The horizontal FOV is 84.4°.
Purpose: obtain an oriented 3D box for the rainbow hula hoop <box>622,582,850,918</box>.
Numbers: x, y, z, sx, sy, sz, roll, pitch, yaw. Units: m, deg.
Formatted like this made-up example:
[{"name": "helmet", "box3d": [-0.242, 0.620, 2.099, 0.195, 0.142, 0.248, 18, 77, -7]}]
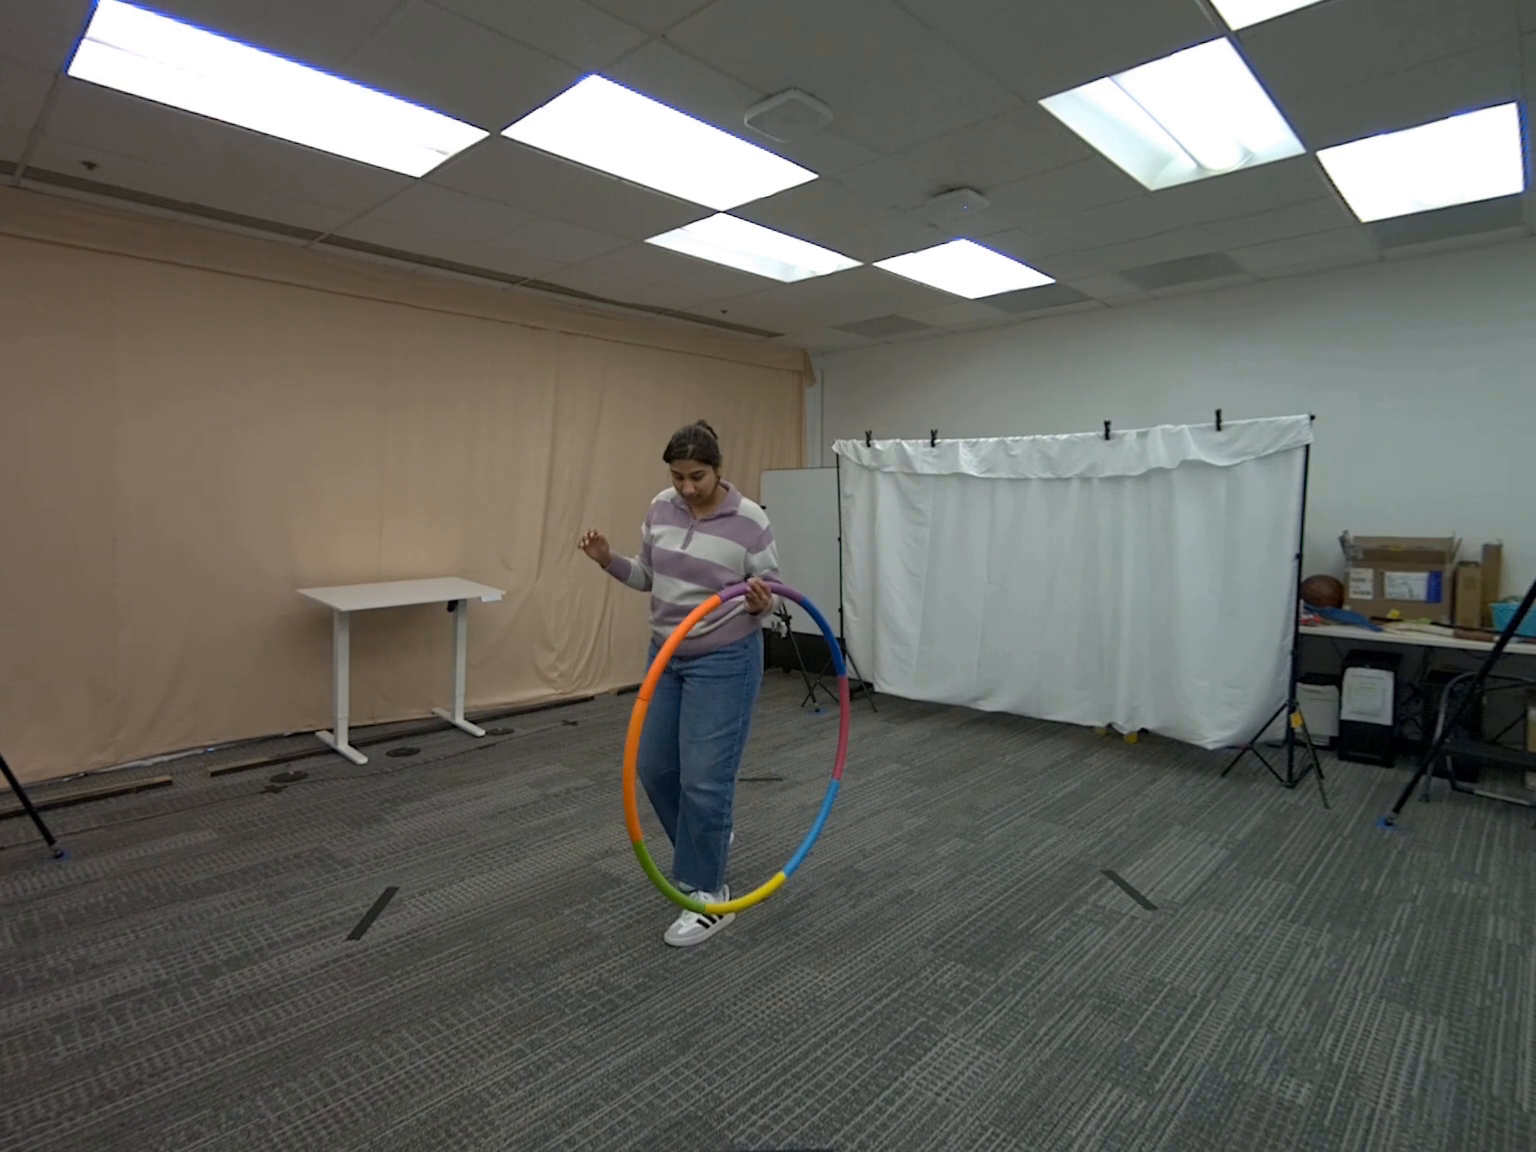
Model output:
[{"name": "rainbow hula hoop", "box3d": [-0.046, 0.510, 2.540, 0.053, 0.983, 0.955, 4, 5, 44]}]
